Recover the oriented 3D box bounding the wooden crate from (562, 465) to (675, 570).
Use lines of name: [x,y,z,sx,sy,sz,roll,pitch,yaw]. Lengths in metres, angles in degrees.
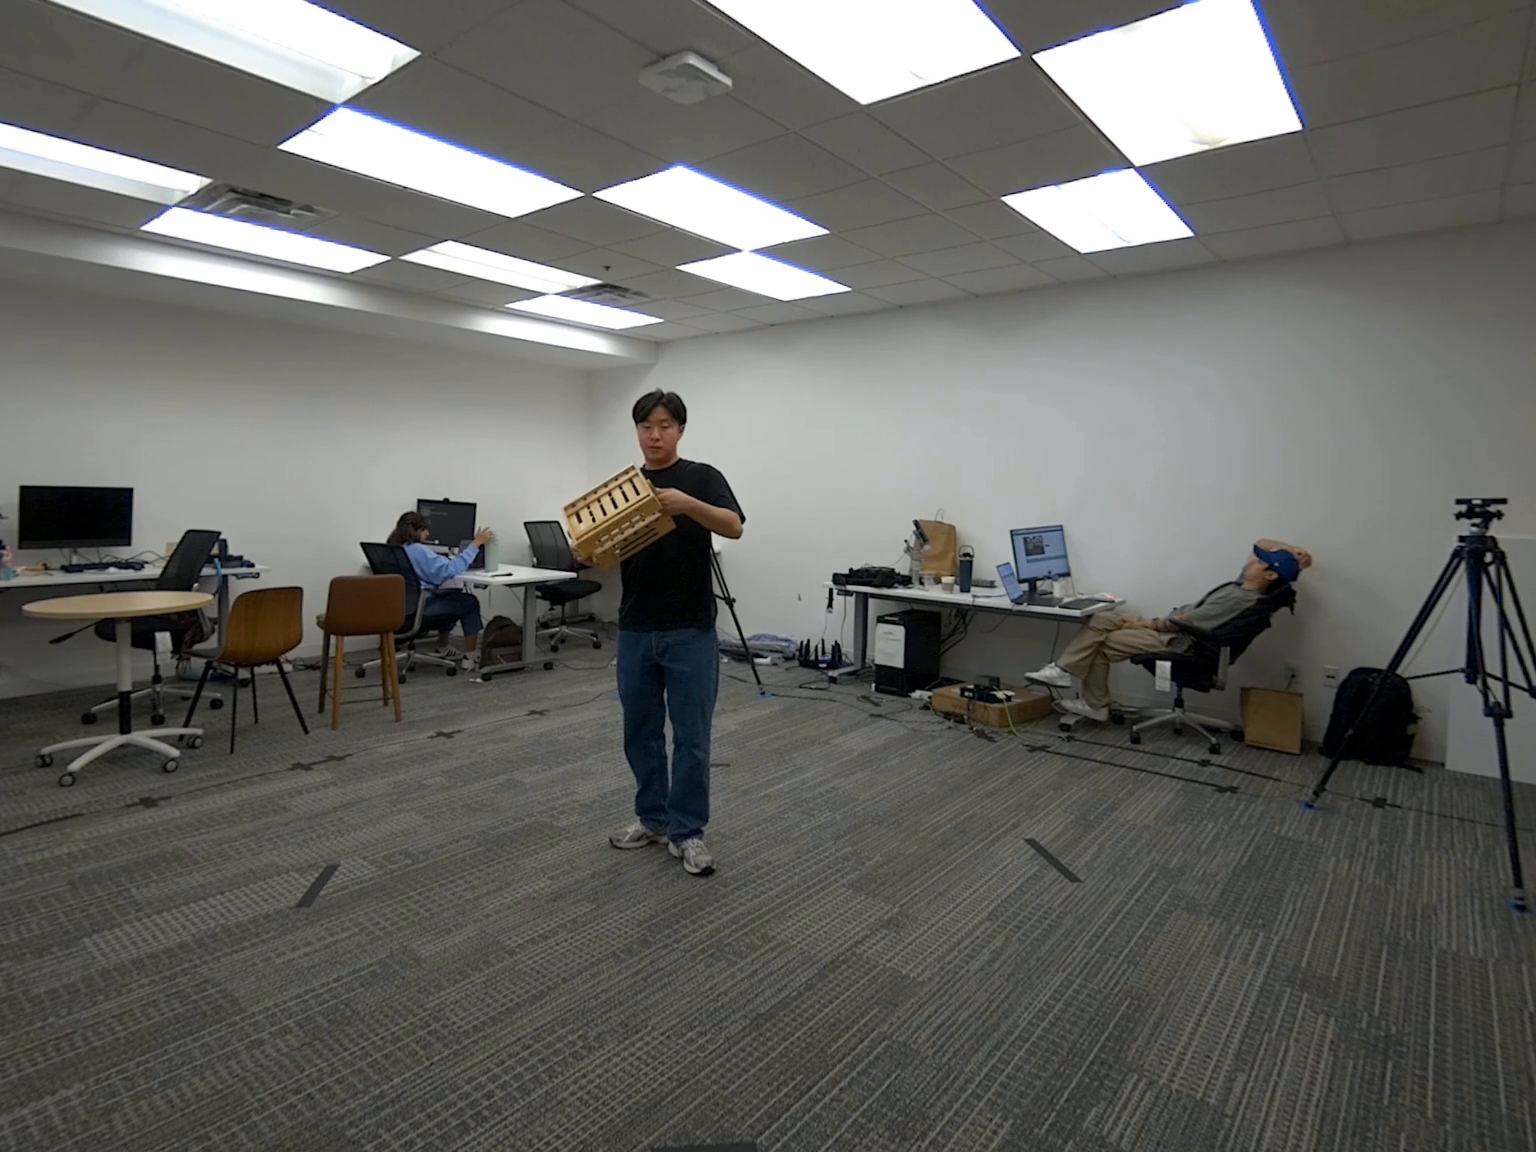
wooden crate: [-0.507,-0.173,2.932,0.324,0.262,0.315,-33,43,0]
